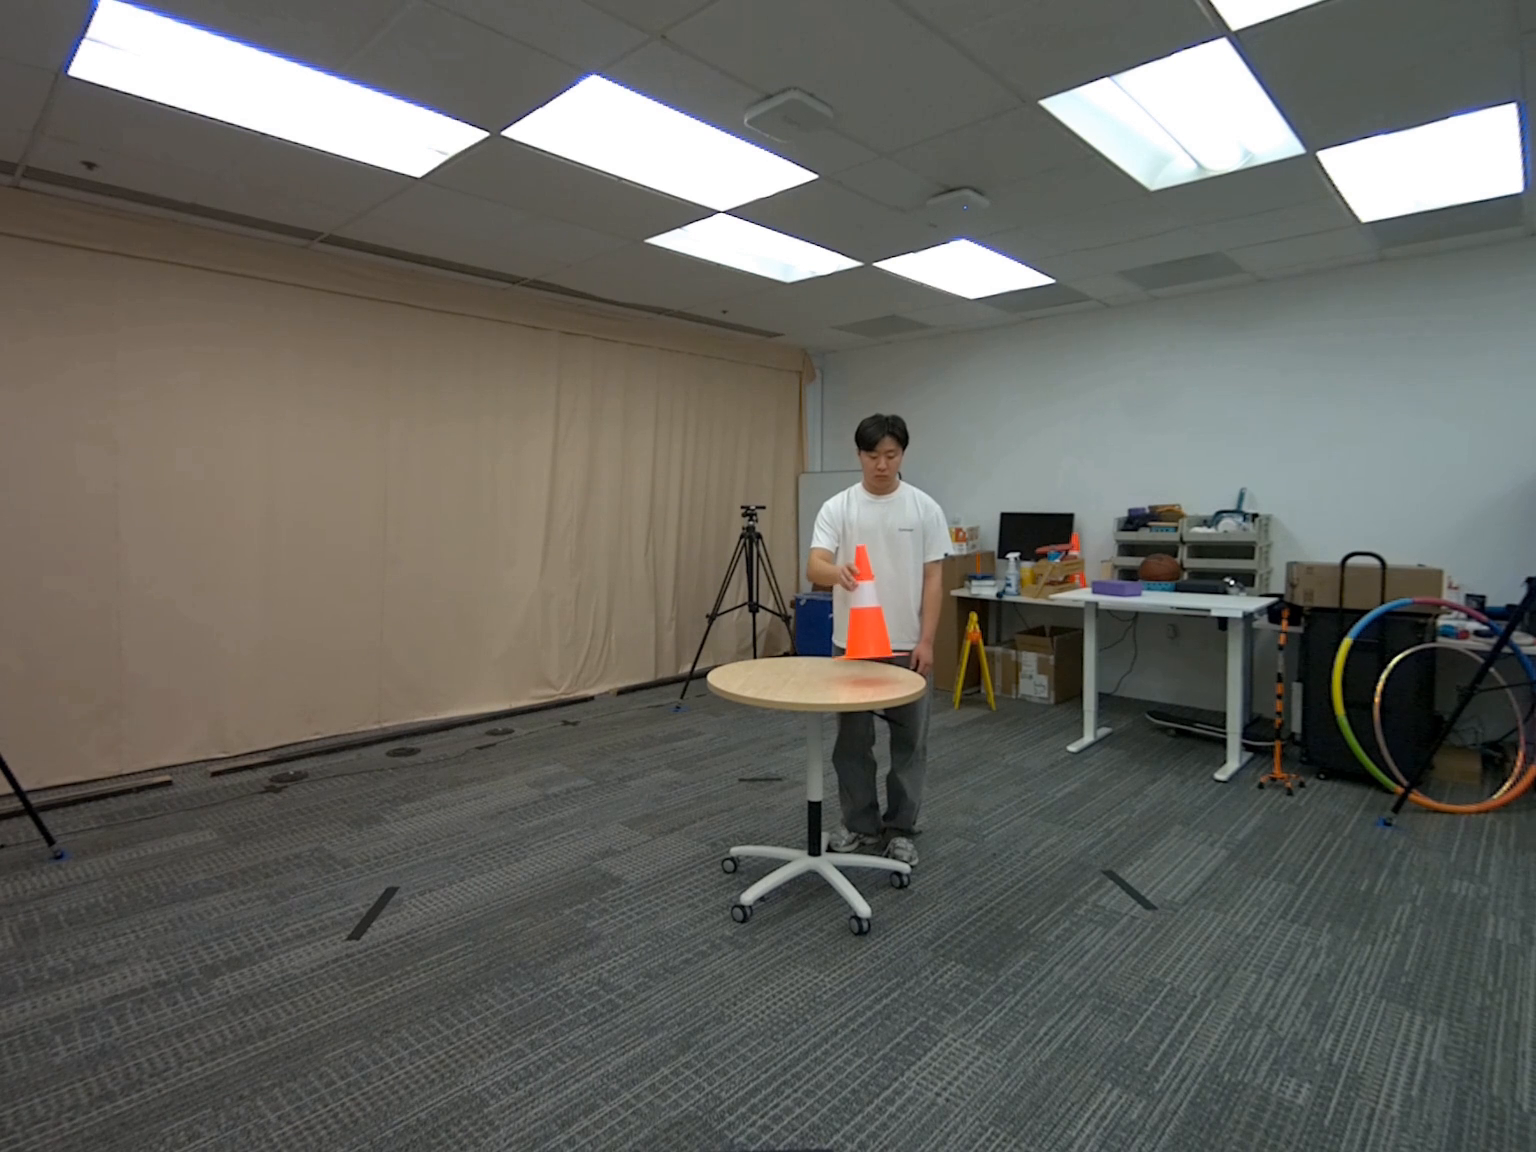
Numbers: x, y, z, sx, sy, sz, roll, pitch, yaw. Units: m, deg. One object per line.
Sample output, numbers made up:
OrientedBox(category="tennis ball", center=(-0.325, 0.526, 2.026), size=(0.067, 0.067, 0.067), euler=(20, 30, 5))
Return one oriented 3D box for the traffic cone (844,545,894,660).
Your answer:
OrientedBox(category="traffic cone", center=(0.331, 0.093, 2.888), size=(0.200, 0.384, 0.208), euler=(-2, -2, -29))
